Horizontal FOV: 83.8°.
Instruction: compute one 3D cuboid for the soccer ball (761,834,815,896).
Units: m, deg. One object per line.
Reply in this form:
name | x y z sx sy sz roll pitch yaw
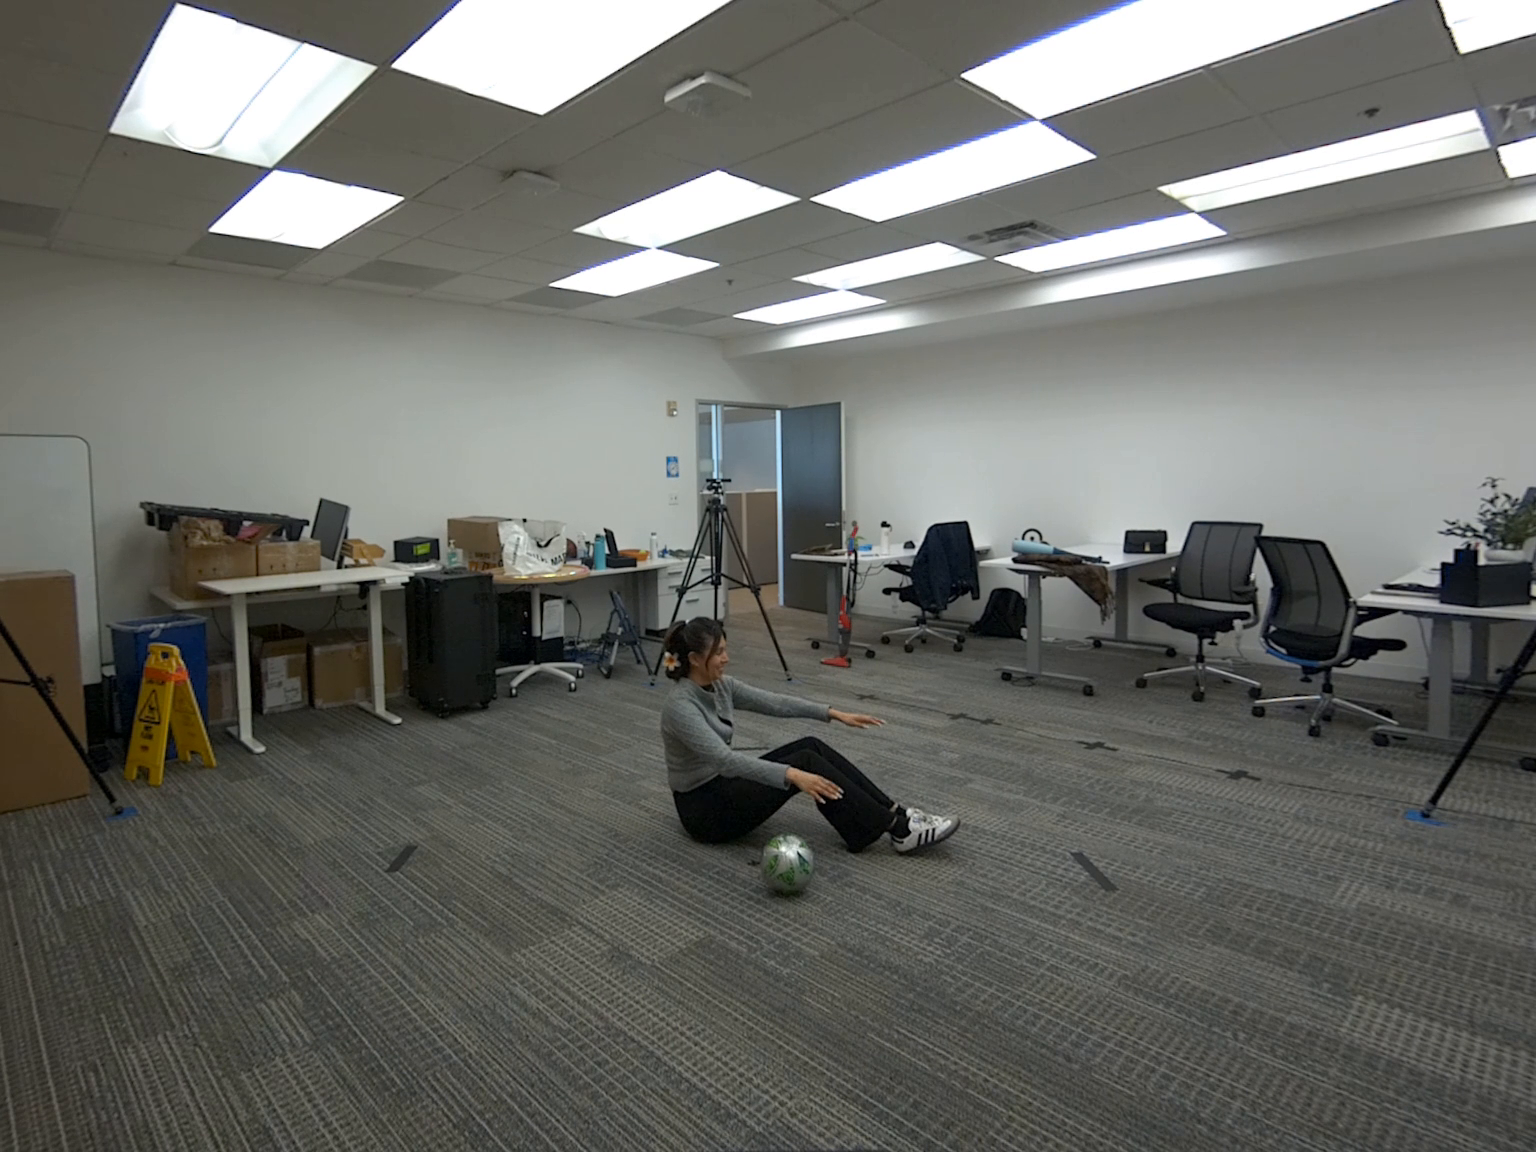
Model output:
soccer ball | 0.060 0.977 2.888 0.187 0.187 0.188 -1 5 -2
